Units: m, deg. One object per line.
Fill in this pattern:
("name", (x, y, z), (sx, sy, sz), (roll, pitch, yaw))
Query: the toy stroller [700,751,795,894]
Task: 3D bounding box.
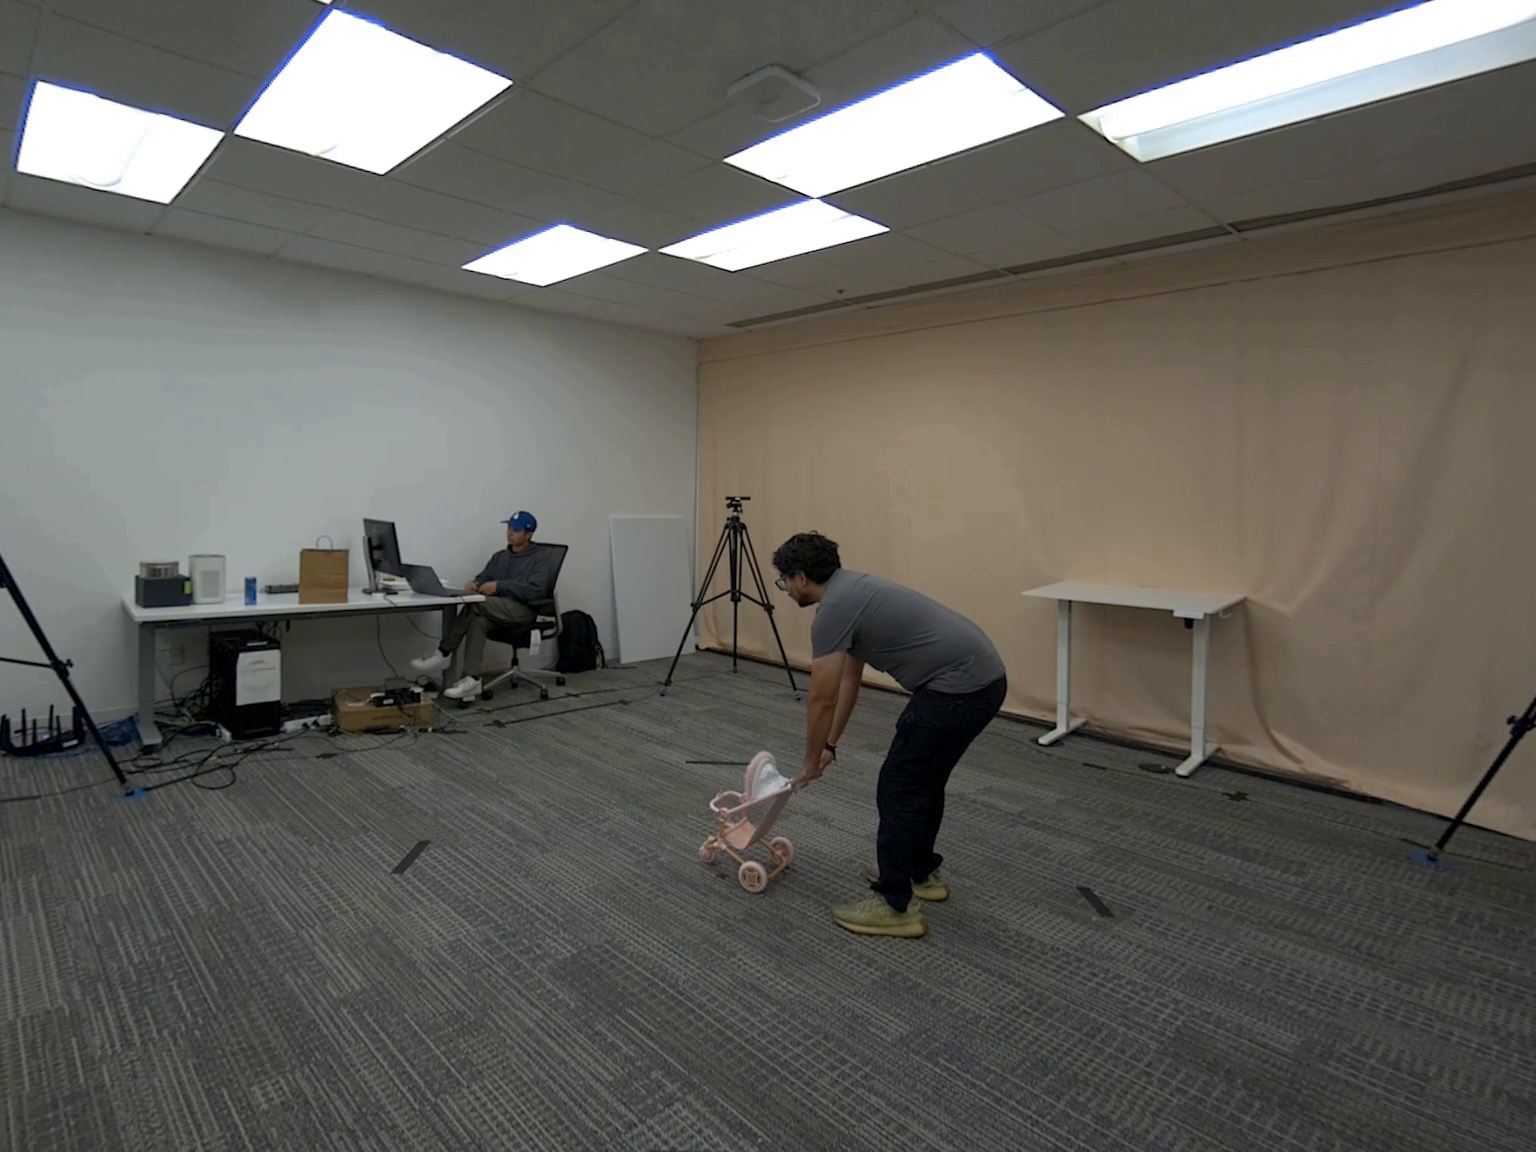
("toy stroller", (-0.057, 0.885, 3.113), (0.350, 0.532, 0.276), (23, 13, 29))
